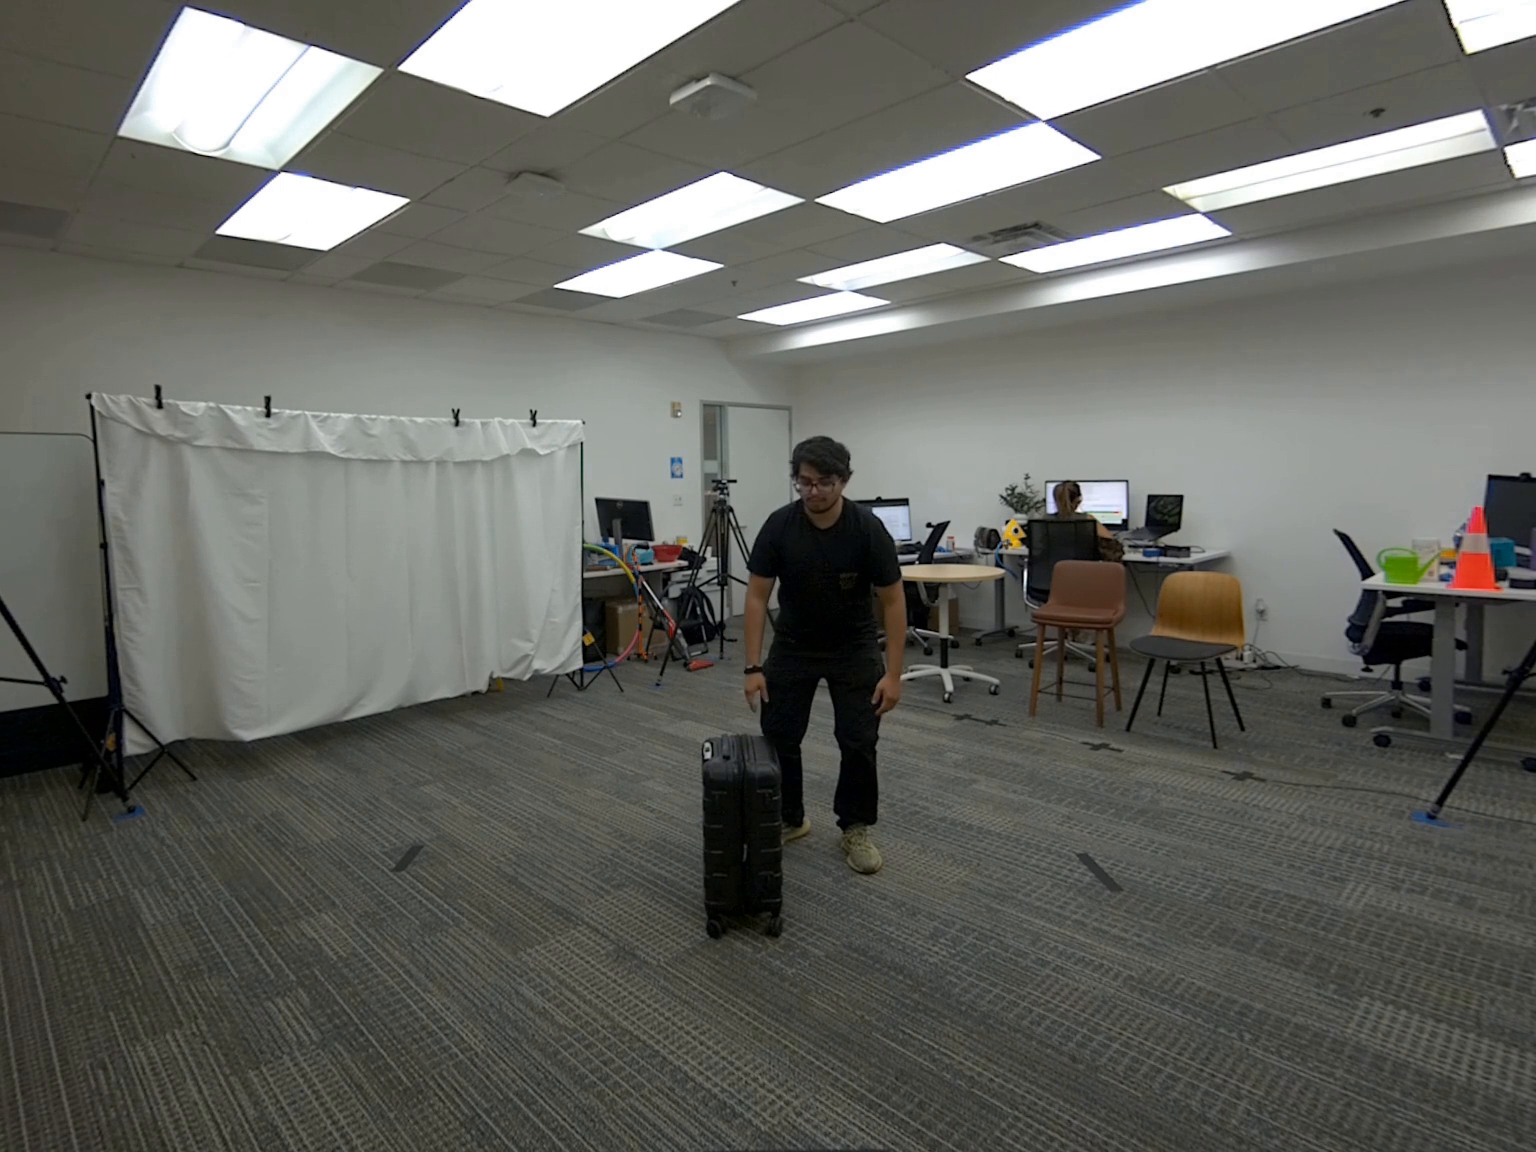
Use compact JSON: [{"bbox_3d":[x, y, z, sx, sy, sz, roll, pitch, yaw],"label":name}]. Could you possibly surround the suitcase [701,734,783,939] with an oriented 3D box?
[{"bbox_3d":[-0.089,0.810,2.769,0.247,0.548,0.378,-1,3,-4],"label":"suitcase"}]
